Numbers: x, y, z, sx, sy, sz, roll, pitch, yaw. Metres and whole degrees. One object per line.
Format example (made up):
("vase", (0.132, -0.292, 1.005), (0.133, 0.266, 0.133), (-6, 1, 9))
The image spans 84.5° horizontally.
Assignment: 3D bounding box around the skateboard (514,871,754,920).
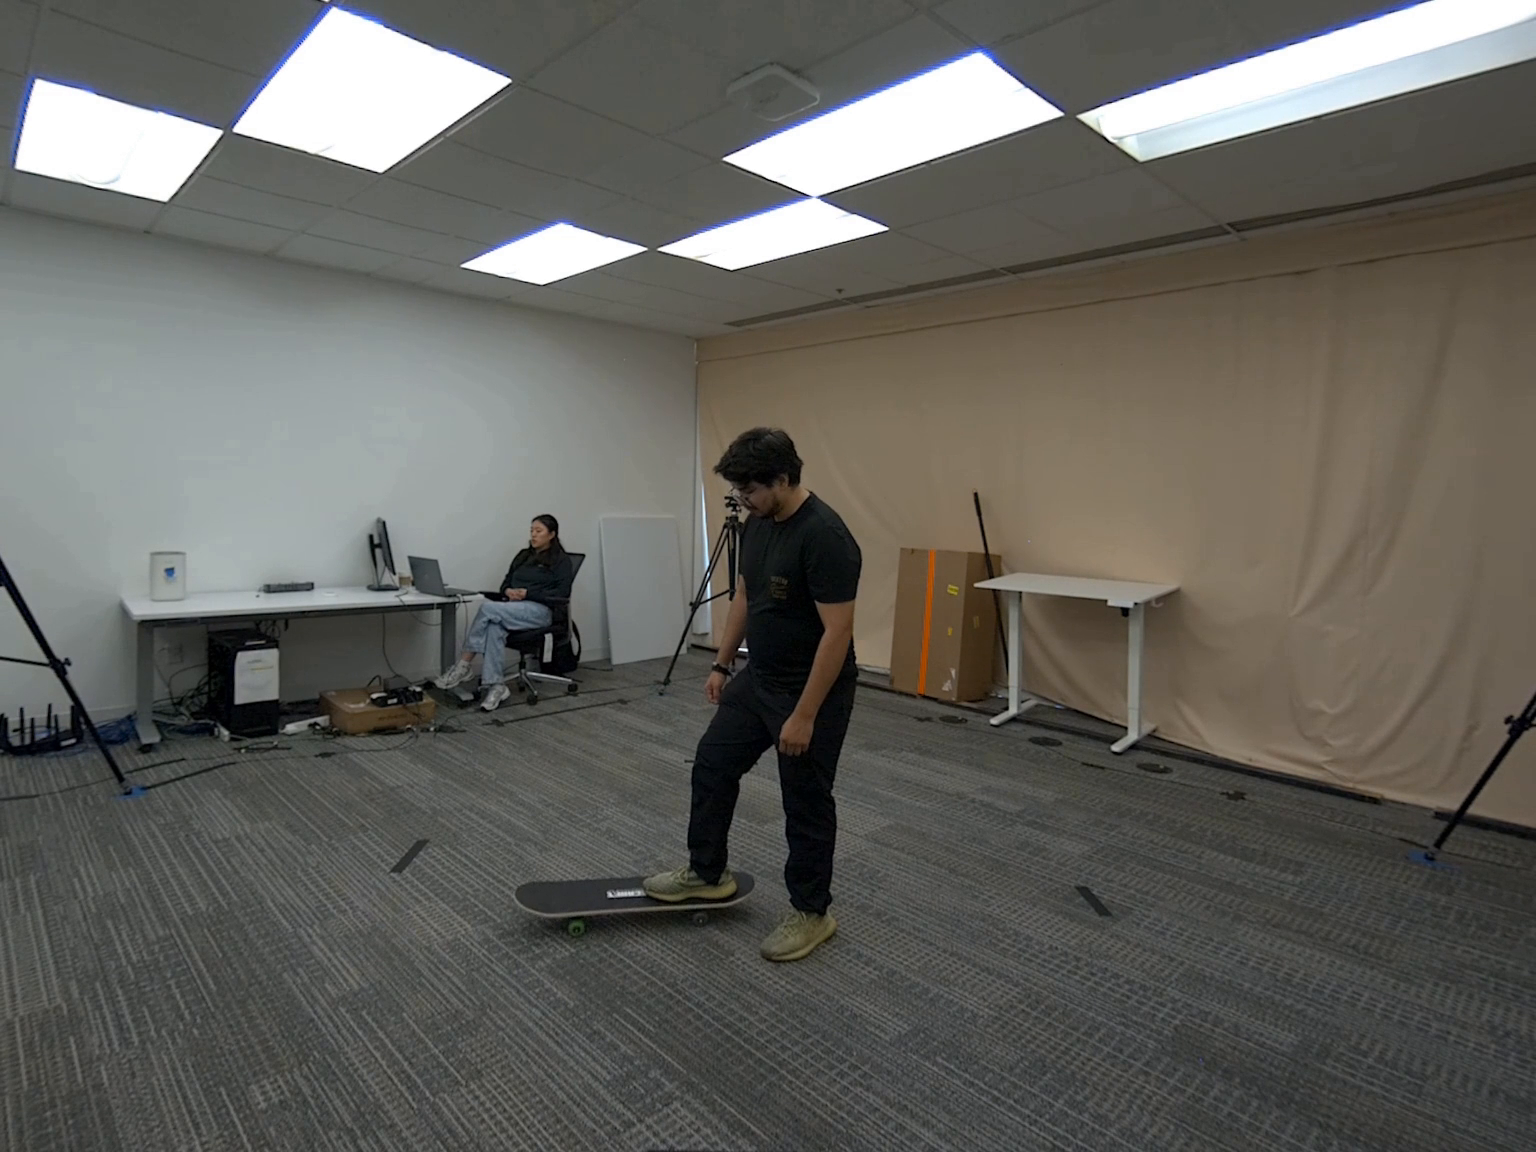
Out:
("skateboard", (-0.428, 1.070, 2.759), (0.778, 0.110, 0.196), (1, 8, -11))
